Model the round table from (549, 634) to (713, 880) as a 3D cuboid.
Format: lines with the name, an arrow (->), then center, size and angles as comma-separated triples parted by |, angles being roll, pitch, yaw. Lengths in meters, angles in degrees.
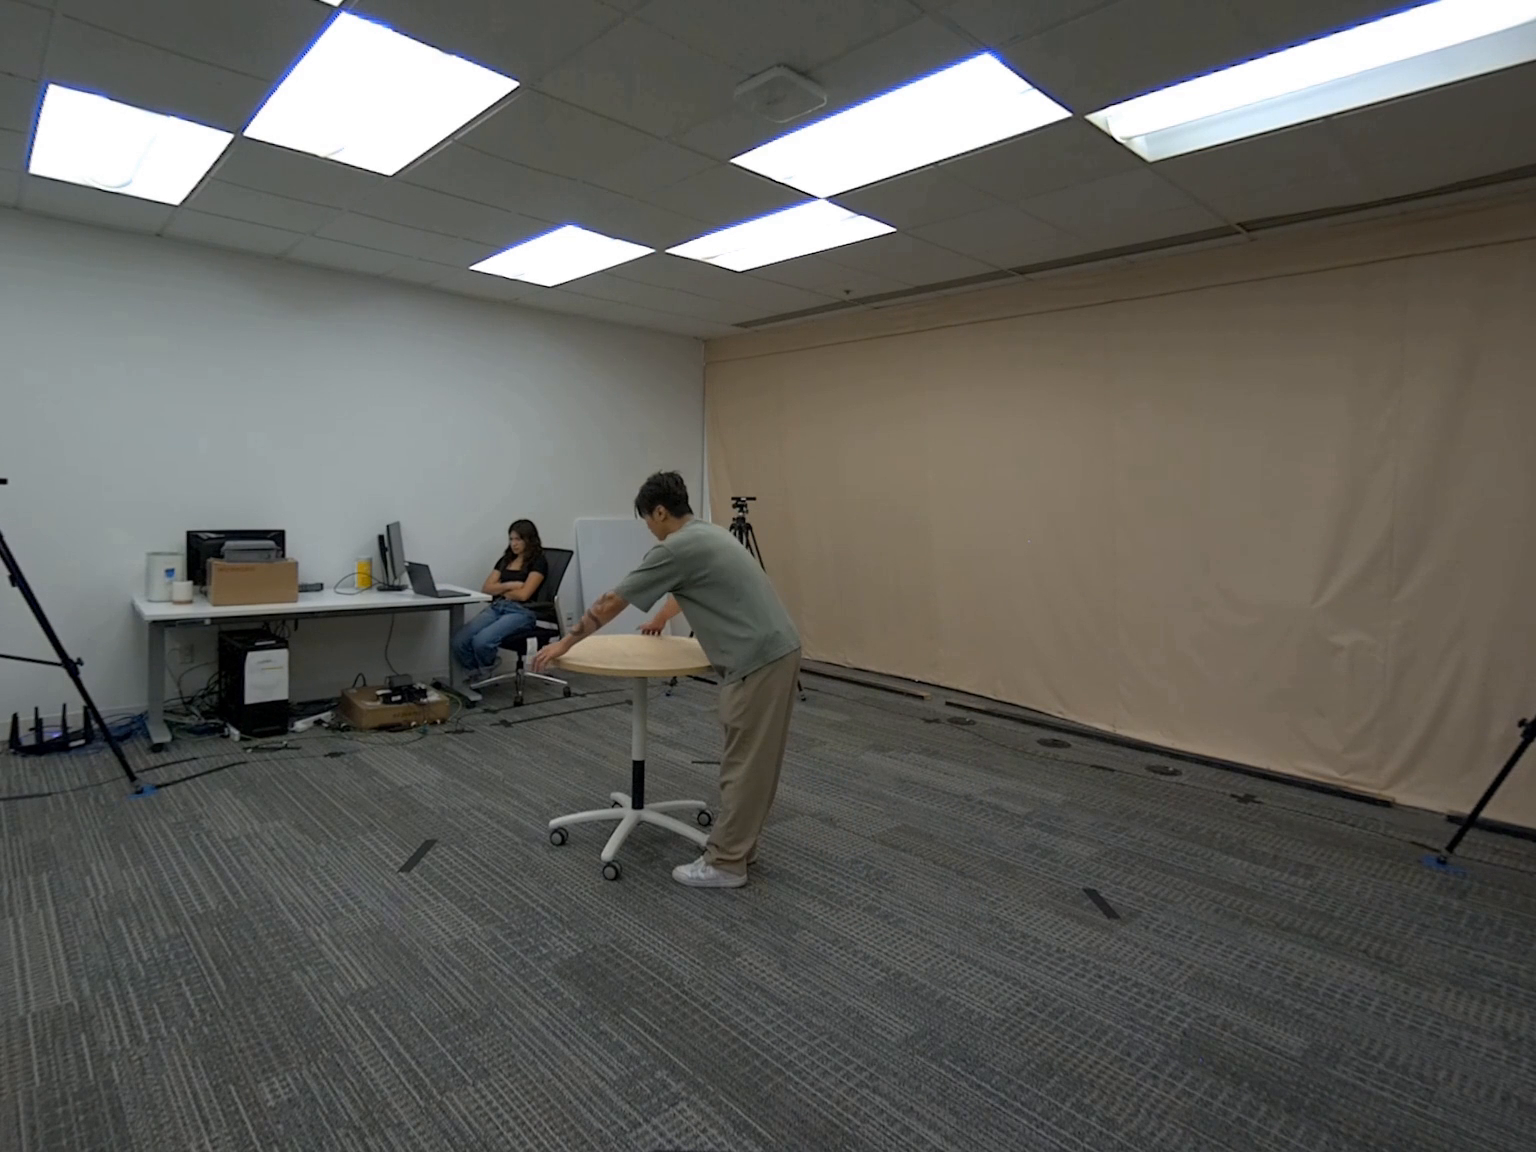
round table -> -0.530, 0.683, 3.363 | 0.784, 0.785, 0.787 | 1, 3, -1
